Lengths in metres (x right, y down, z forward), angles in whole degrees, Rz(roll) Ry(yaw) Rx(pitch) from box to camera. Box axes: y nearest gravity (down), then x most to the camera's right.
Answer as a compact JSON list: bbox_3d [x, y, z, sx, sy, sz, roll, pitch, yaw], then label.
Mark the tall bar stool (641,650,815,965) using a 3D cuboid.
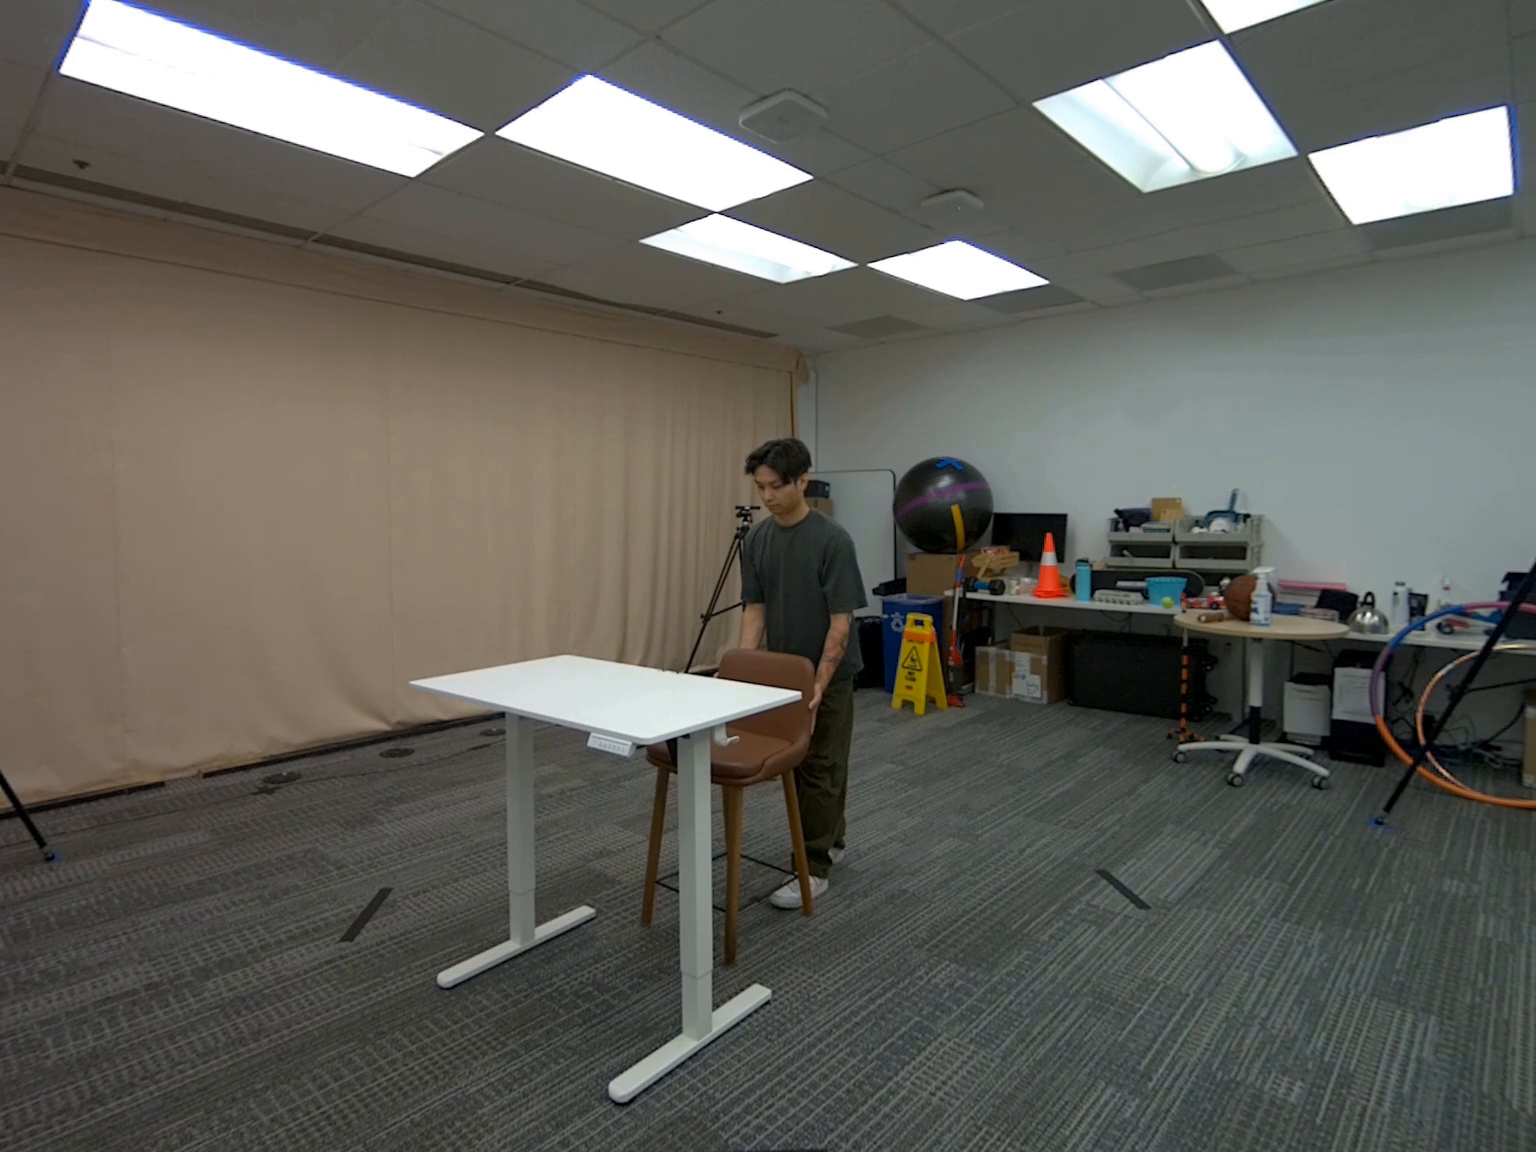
[{"bbox_3d":[-0.124,0.721,2.815,0.471,0.889,0.453,2,2,40],"label":"tall bar stool"}]
